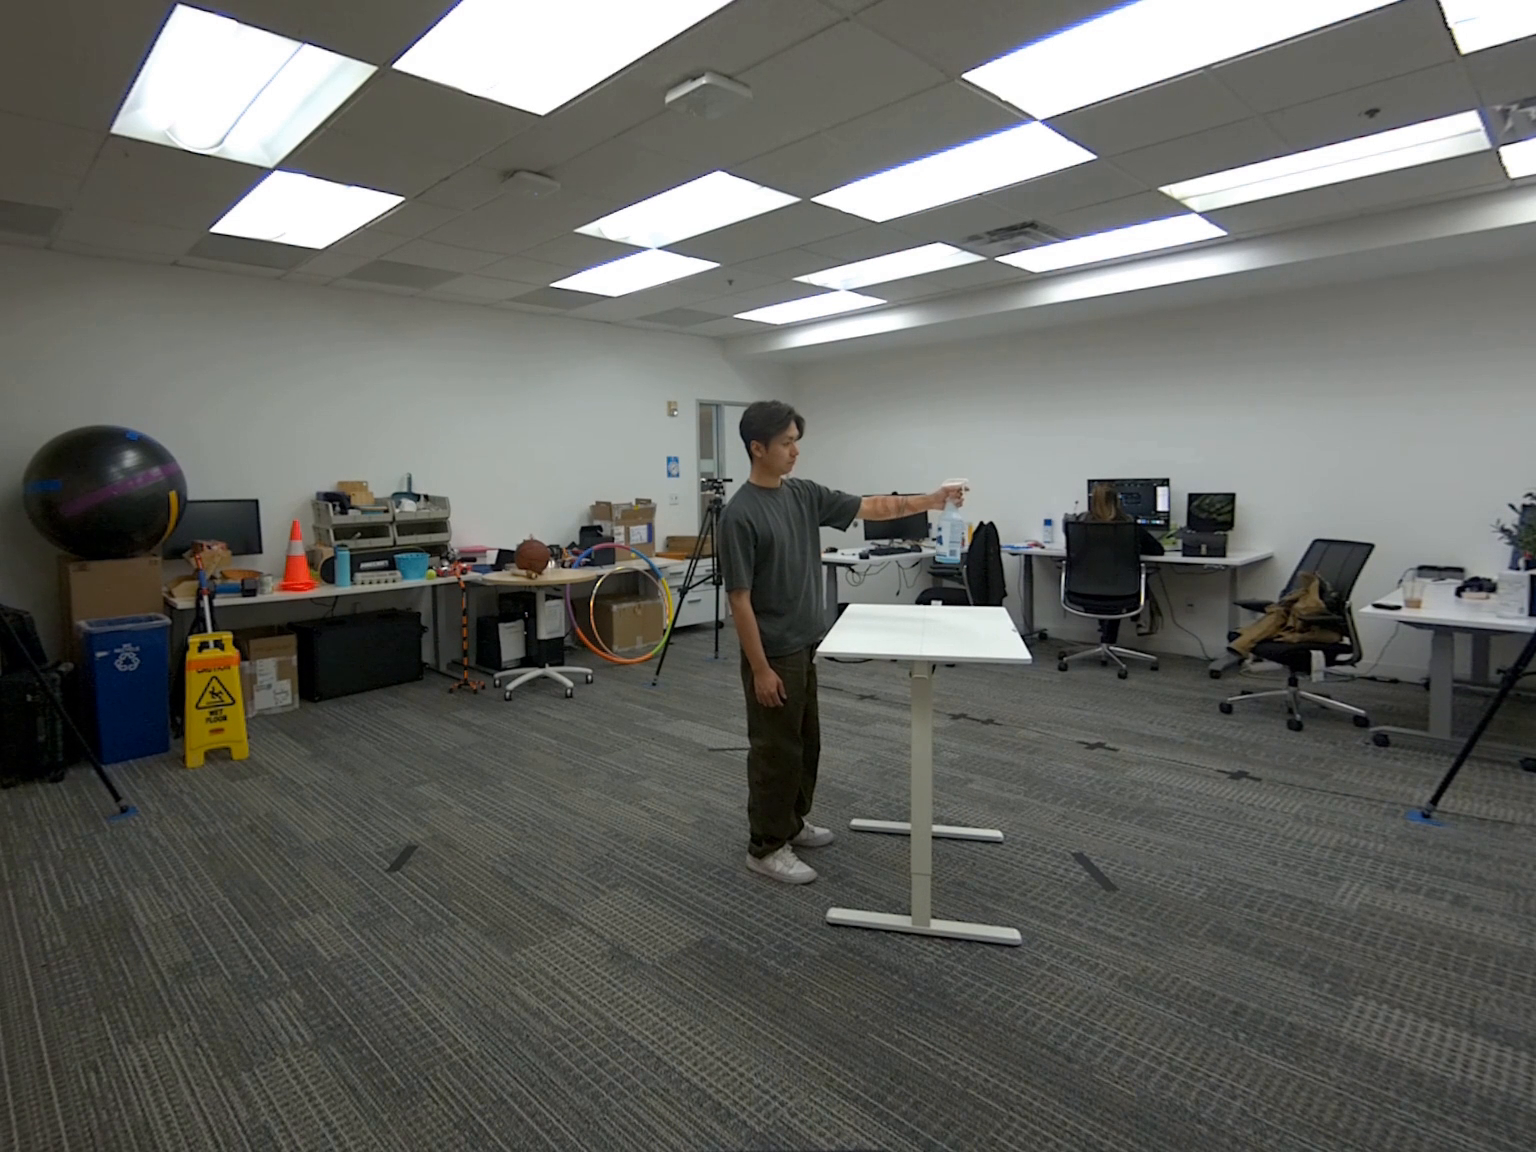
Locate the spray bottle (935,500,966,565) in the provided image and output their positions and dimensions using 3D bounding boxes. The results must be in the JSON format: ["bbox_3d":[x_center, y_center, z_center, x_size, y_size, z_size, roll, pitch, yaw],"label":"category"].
[{"bbox_3d":[0.644,-0.195,3.016,0.084,0.296,0.093,0,5,-37],"label":"spray bottle"}]
